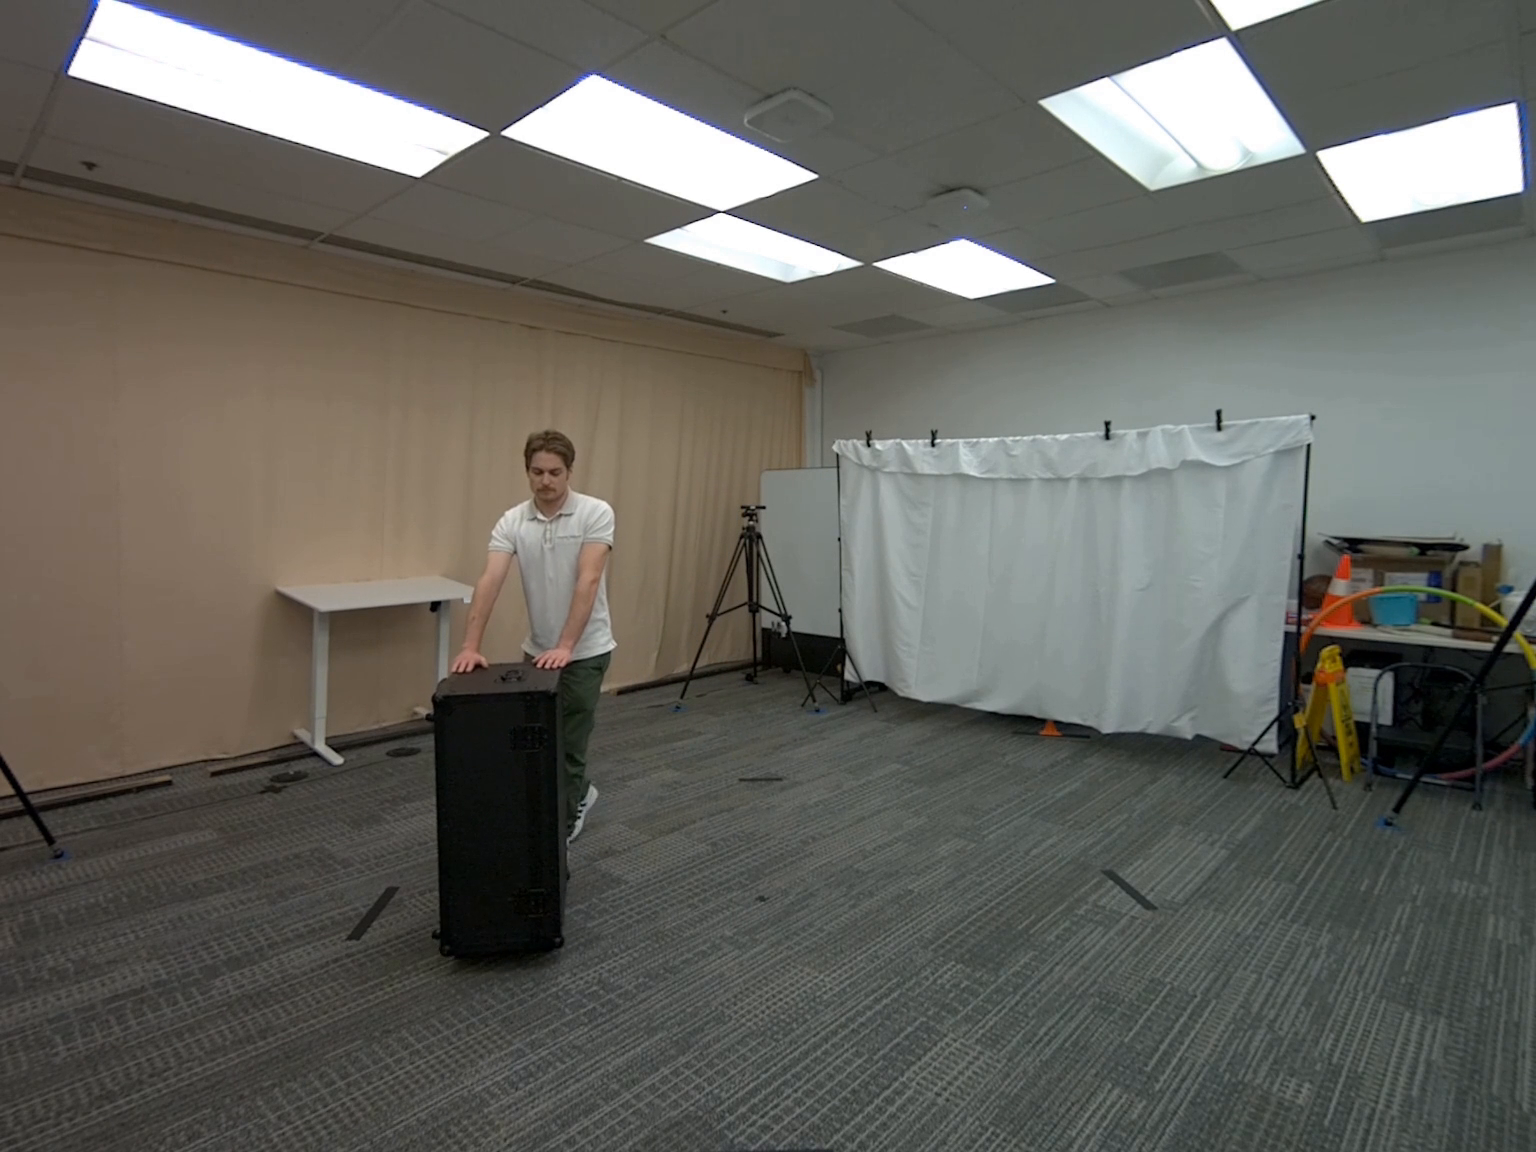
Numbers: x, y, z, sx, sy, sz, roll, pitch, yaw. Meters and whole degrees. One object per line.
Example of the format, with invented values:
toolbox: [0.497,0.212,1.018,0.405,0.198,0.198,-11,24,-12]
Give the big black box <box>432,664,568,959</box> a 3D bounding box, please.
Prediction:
big black box: [-0.842,0.753,2.718,0.381,0.867,0.529,0,2,-10]
